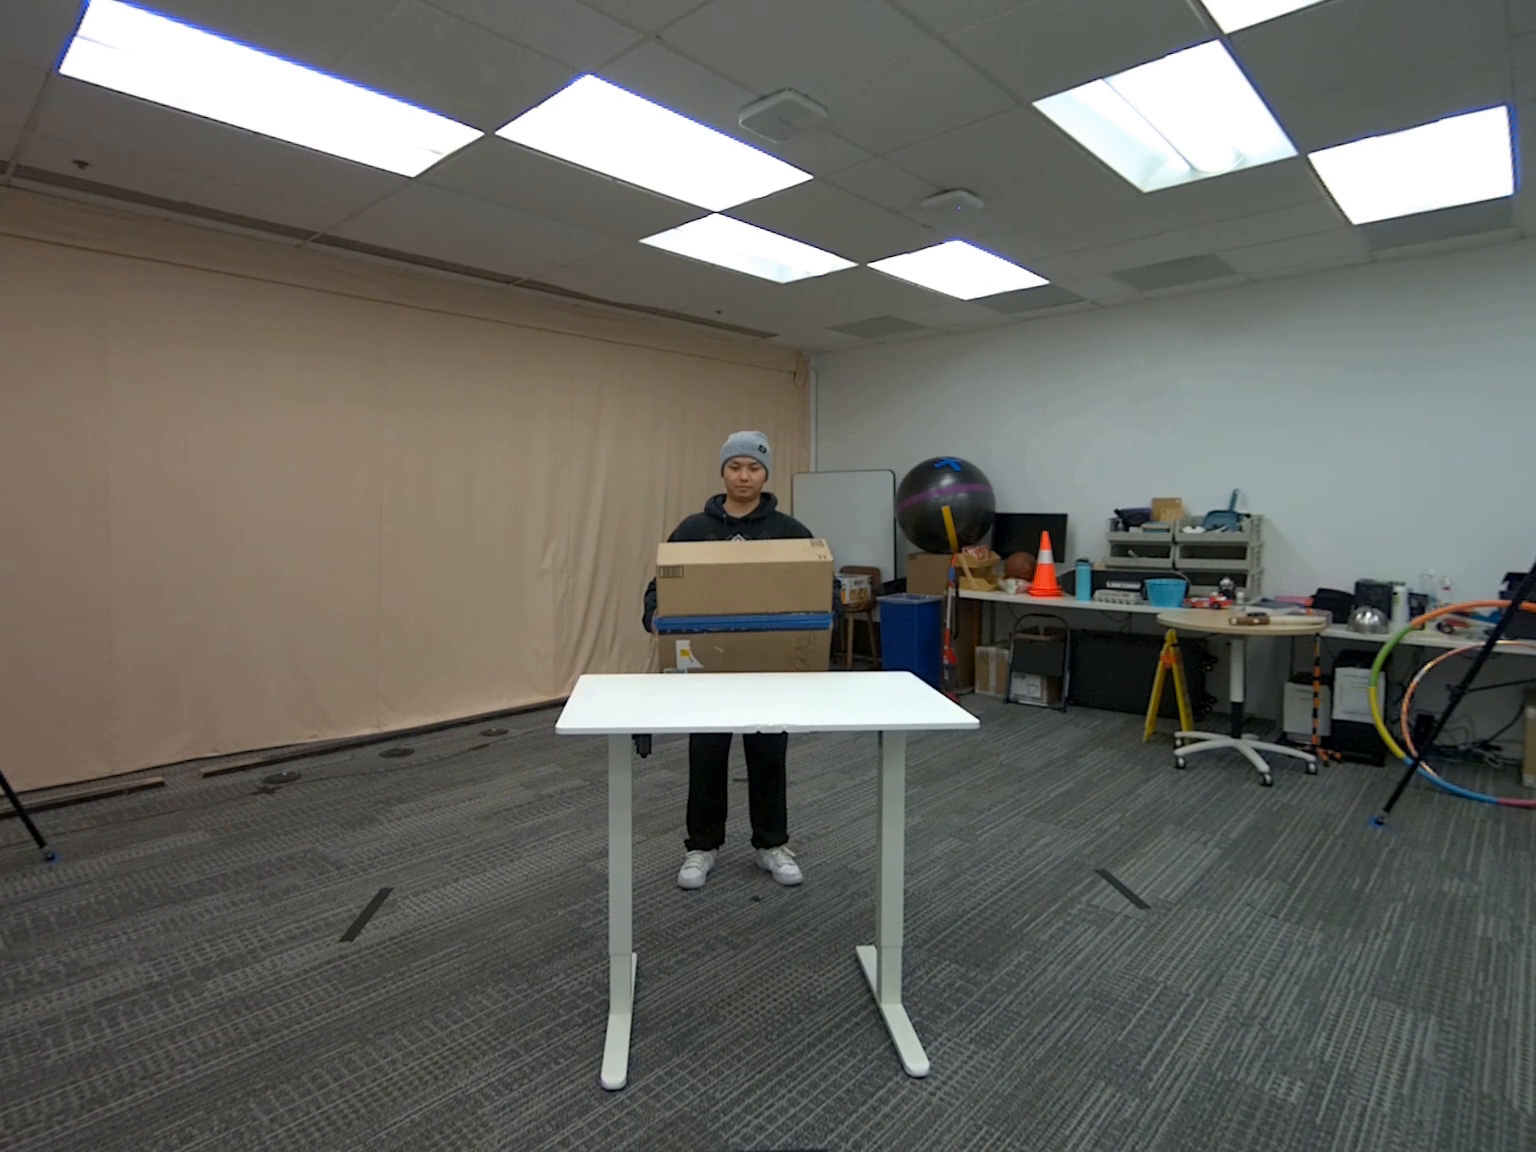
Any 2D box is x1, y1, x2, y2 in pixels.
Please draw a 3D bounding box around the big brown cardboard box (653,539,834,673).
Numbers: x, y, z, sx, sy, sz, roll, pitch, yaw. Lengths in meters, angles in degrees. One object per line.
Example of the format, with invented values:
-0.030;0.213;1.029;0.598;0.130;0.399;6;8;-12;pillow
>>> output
-0.087;0.109;2.828;0.588;0.412;0.236;-1;20;-1;big brown cardboard box
